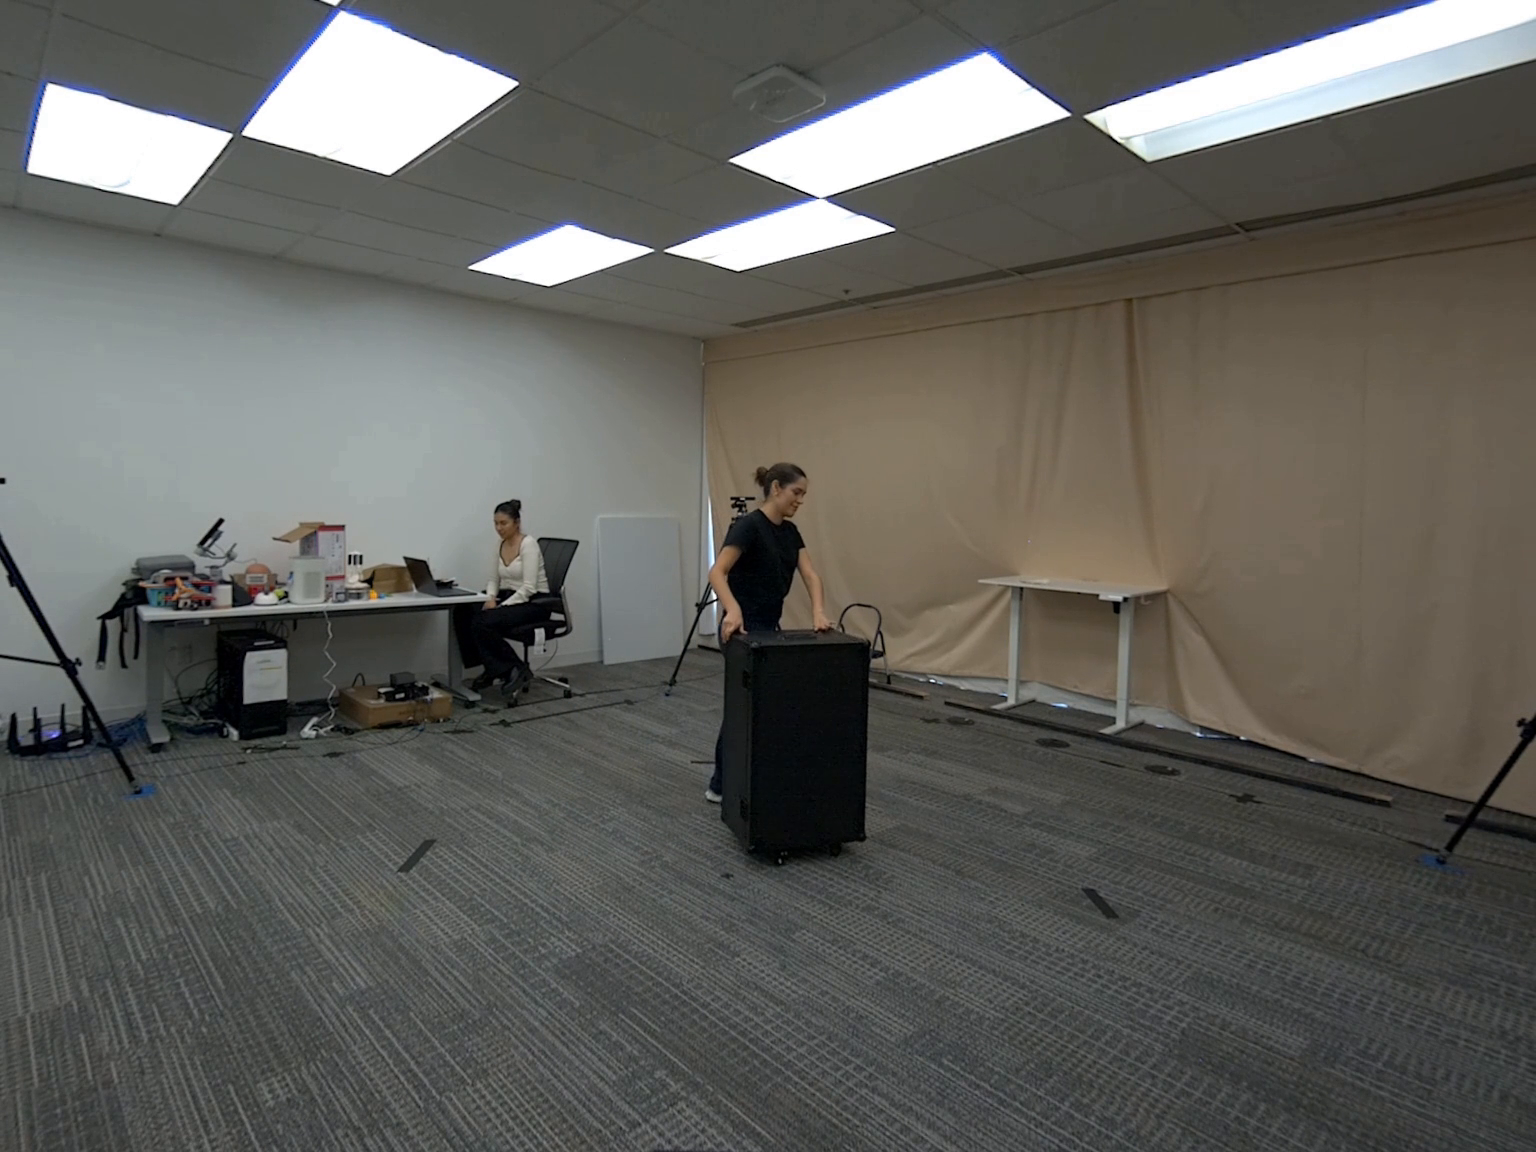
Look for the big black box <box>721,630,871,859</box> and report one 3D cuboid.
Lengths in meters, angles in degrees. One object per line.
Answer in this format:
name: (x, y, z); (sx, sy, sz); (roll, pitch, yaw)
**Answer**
big black box: (0.091, 0.667, 3.348); (0.514, 0.860, 0.403); (-1, 2, -20)
